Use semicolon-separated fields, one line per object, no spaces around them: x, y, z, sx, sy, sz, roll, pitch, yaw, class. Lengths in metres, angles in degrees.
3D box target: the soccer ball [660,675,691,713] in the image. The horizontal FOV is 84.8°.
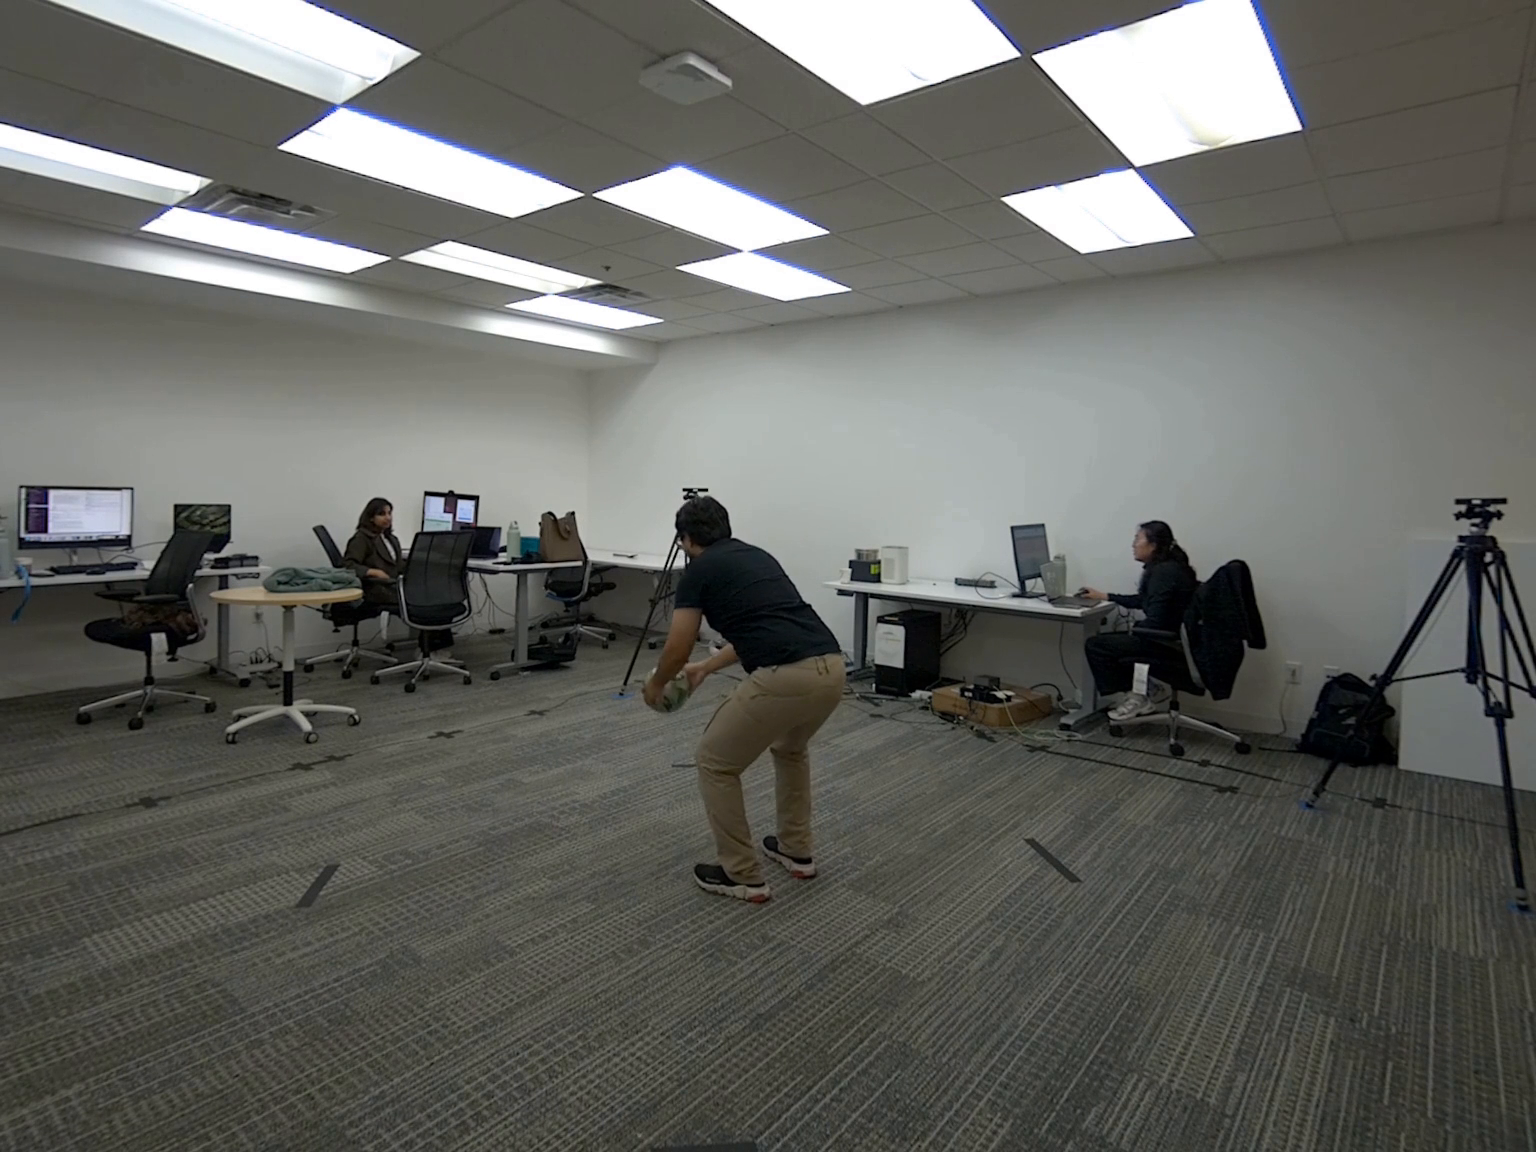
-0.411;0.425;3.363;0.187;0.187;0.188;1;4;-2;soccer ball
